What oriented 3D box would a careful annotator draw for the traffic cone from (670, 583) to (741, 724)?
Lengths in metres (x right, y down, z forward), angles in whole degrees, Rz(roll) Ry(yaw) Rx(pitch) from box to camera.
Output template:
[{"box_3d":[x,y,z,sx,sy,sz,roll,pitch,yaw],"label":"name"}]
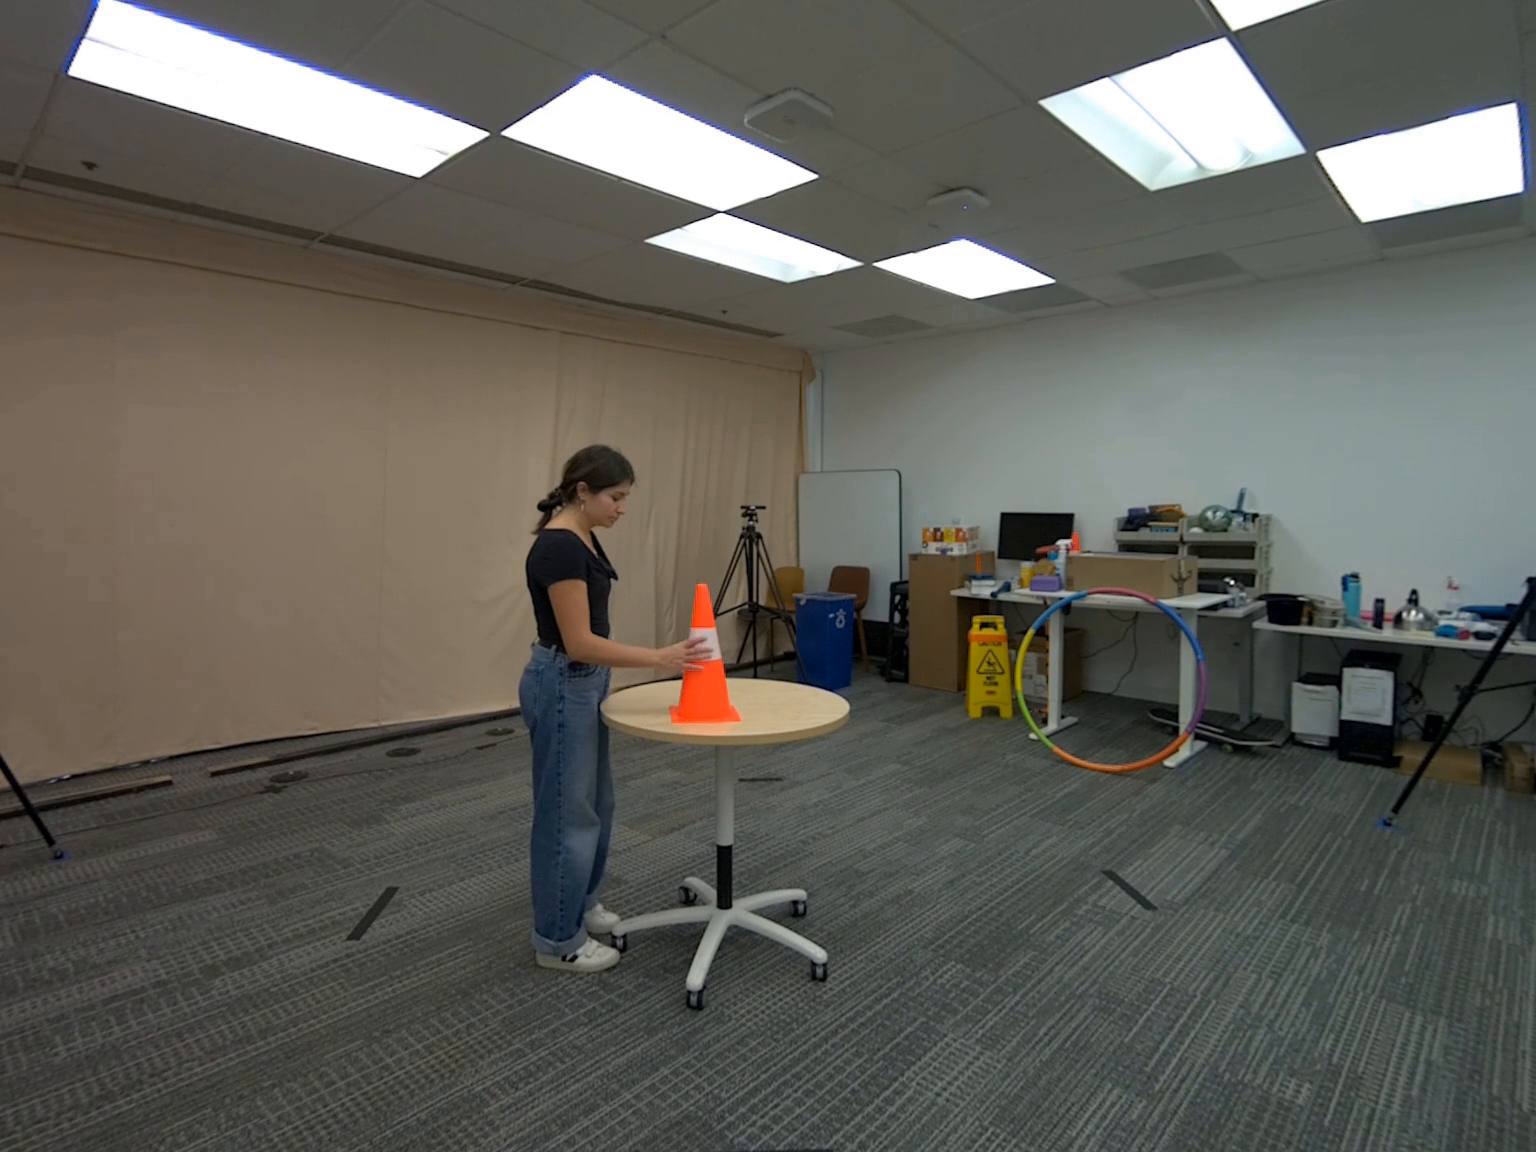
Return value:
[{"box_3d":[-0.180,0.222,2.437,0.201,0.383,0.207,-1,1,-10],"label":"traffic cone"}]
